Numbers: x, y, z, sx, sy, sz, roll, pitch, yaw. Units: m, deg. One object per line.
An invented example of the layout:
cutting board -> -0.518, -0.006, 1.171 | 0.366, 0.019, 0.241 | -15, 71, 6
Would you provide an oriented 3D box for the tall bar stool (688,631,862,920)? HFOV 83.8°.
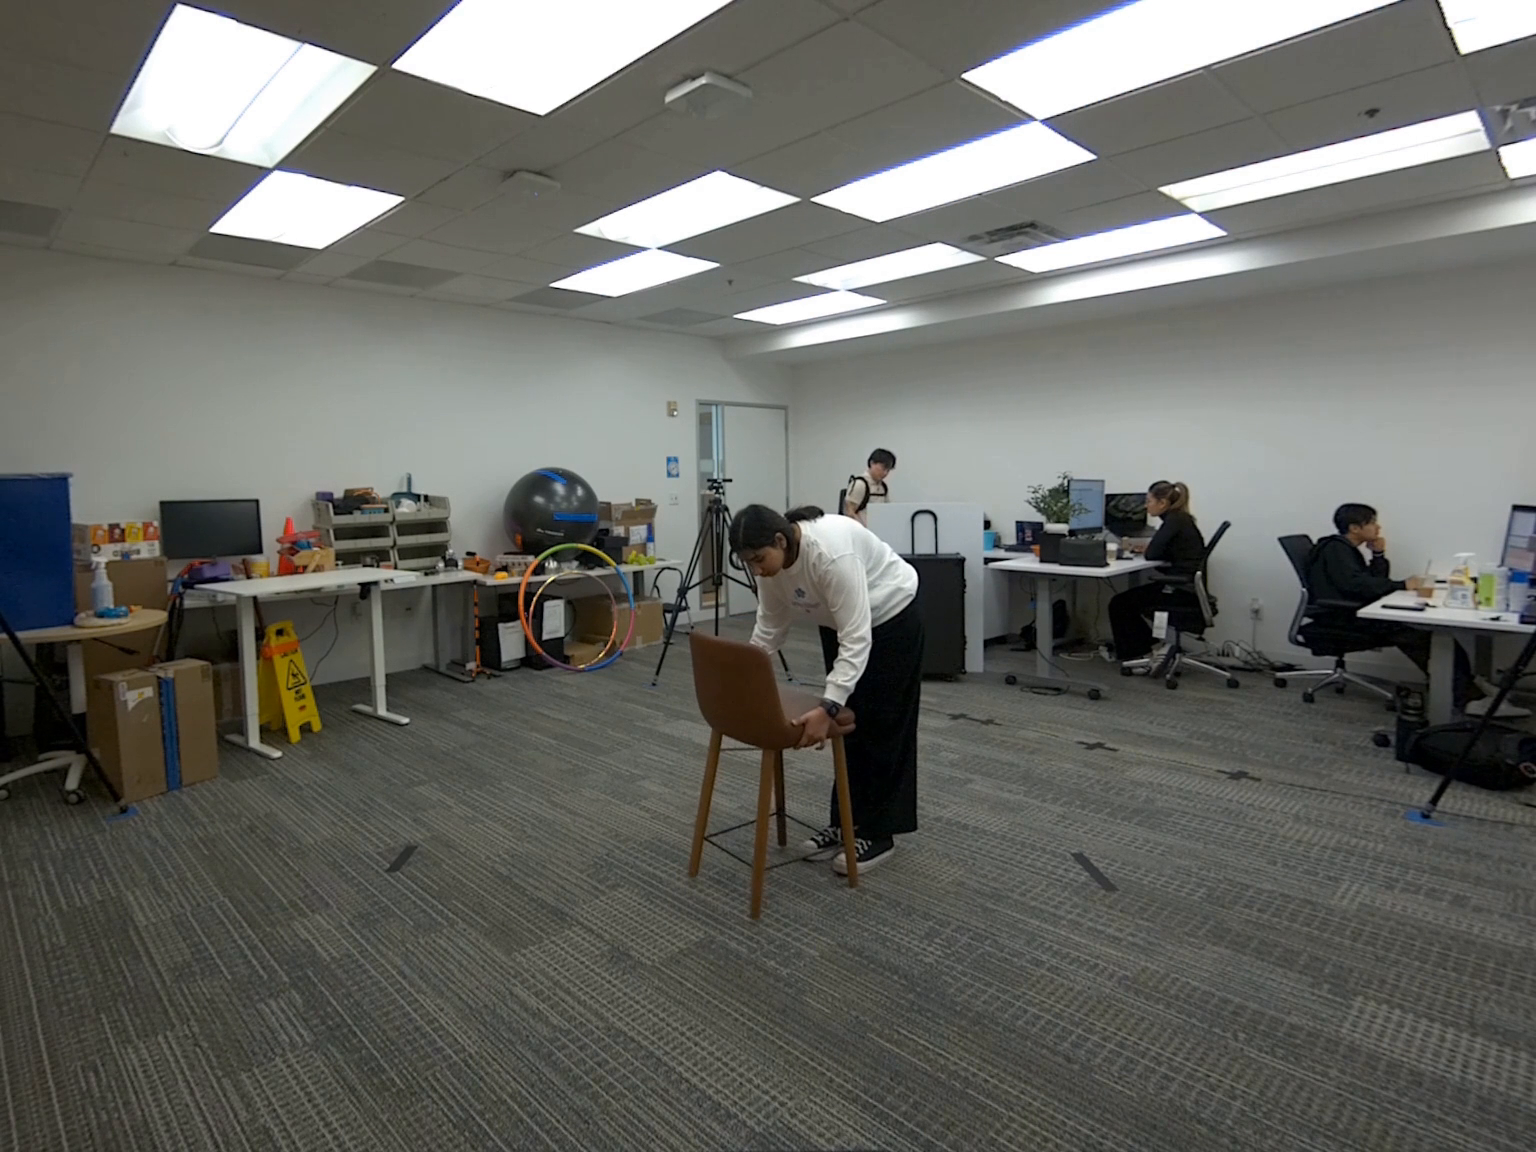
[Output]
tall bar stool -> 0.017, 0.612, 2.924 | 0.455, 0.886, 0.471 | -4, 6, -38
